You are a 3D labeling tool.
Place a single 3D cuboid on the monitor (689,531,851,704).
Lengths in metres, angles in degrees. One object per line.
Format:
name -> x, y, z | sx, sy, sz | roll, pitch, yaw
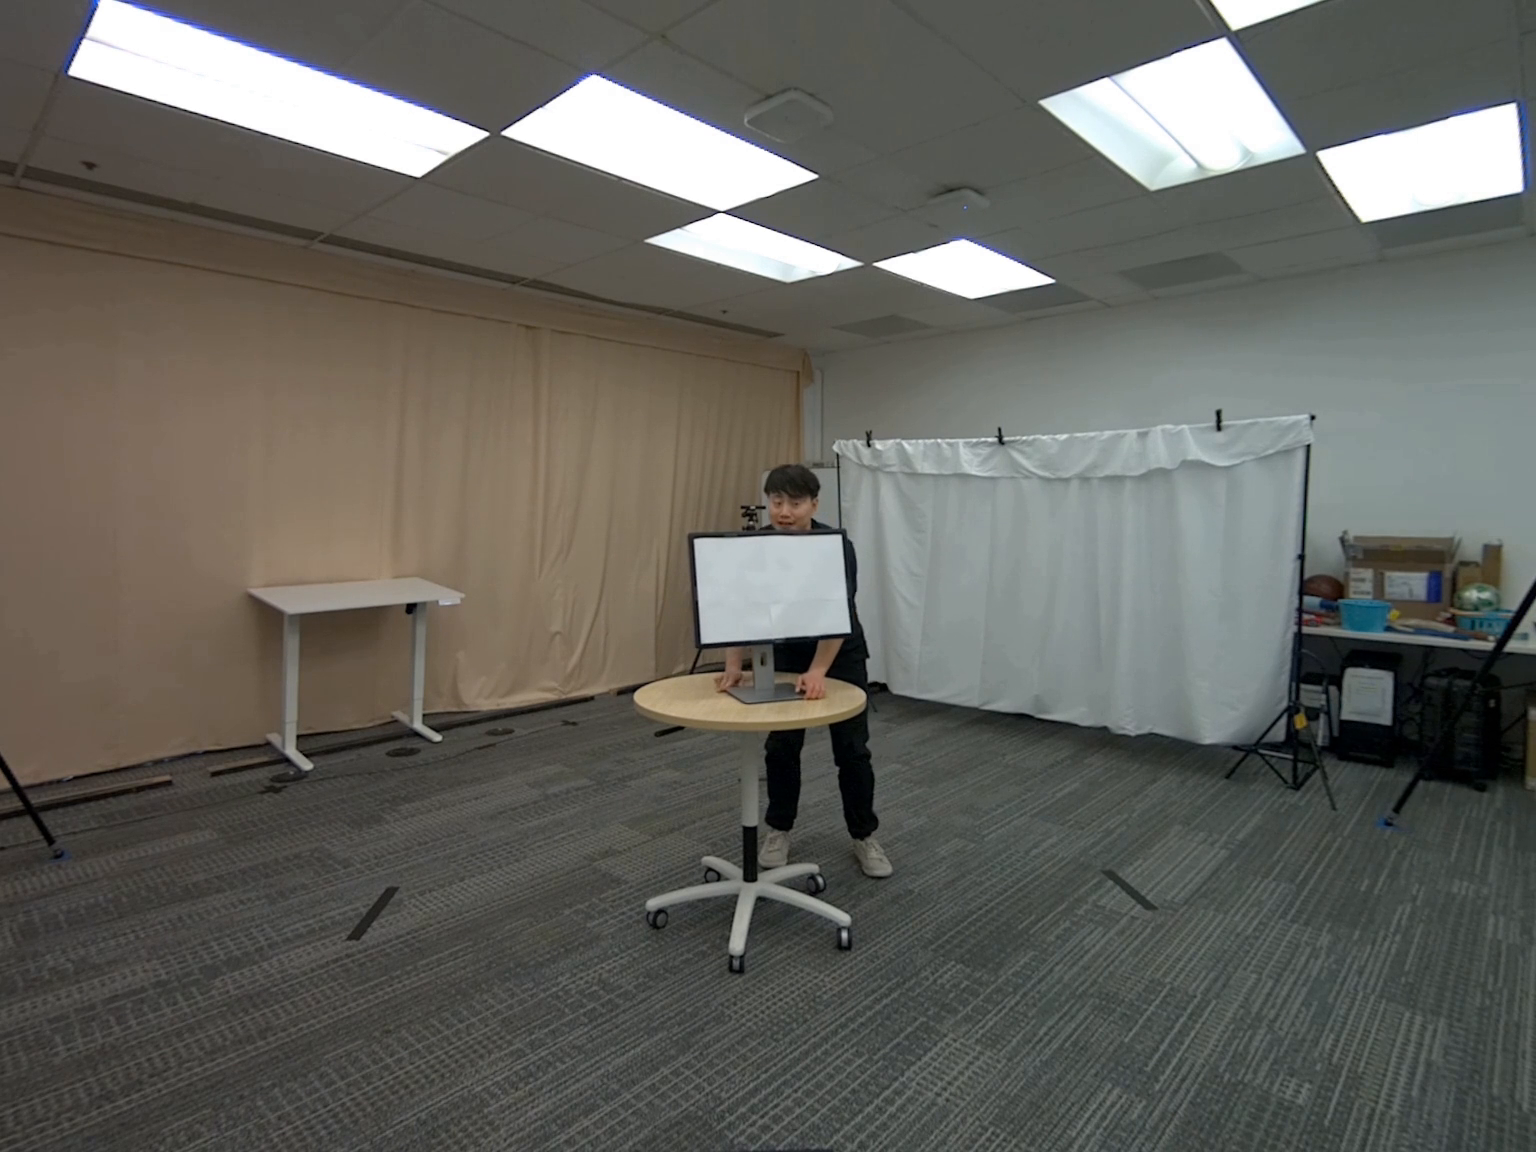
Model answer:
monitor -> 0.008, 0.124, 2.748 | 0.527, 0.521, 0.192 | -3, 4, -23
